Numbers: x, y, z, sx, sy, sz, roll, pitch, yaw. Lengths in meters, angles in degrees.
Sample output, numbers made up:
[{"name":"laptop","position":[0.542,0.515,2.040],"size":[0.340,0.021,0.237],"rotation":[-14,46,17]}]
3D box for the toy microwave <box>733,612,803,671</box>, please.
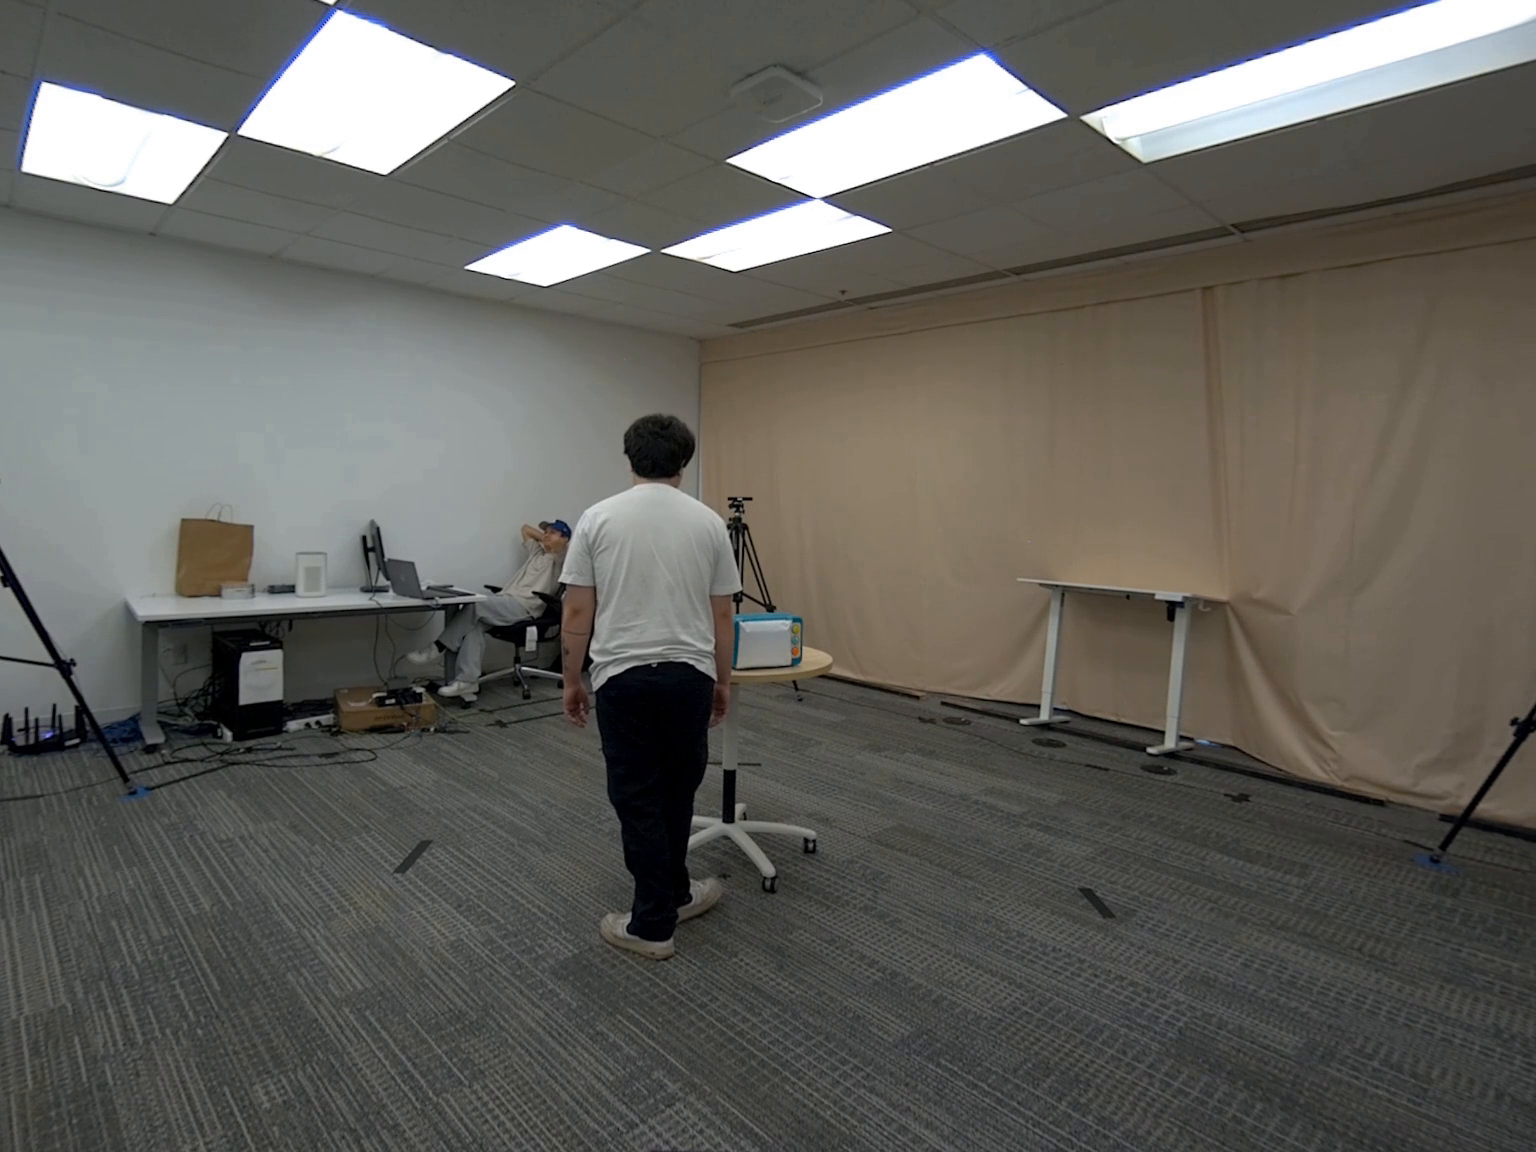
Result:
[{"name":"toy microwave","position":[-0.026,0.233,3.013],"size":[0.281,0.184,0.155],"rotation":[-1,3,-27]}]
